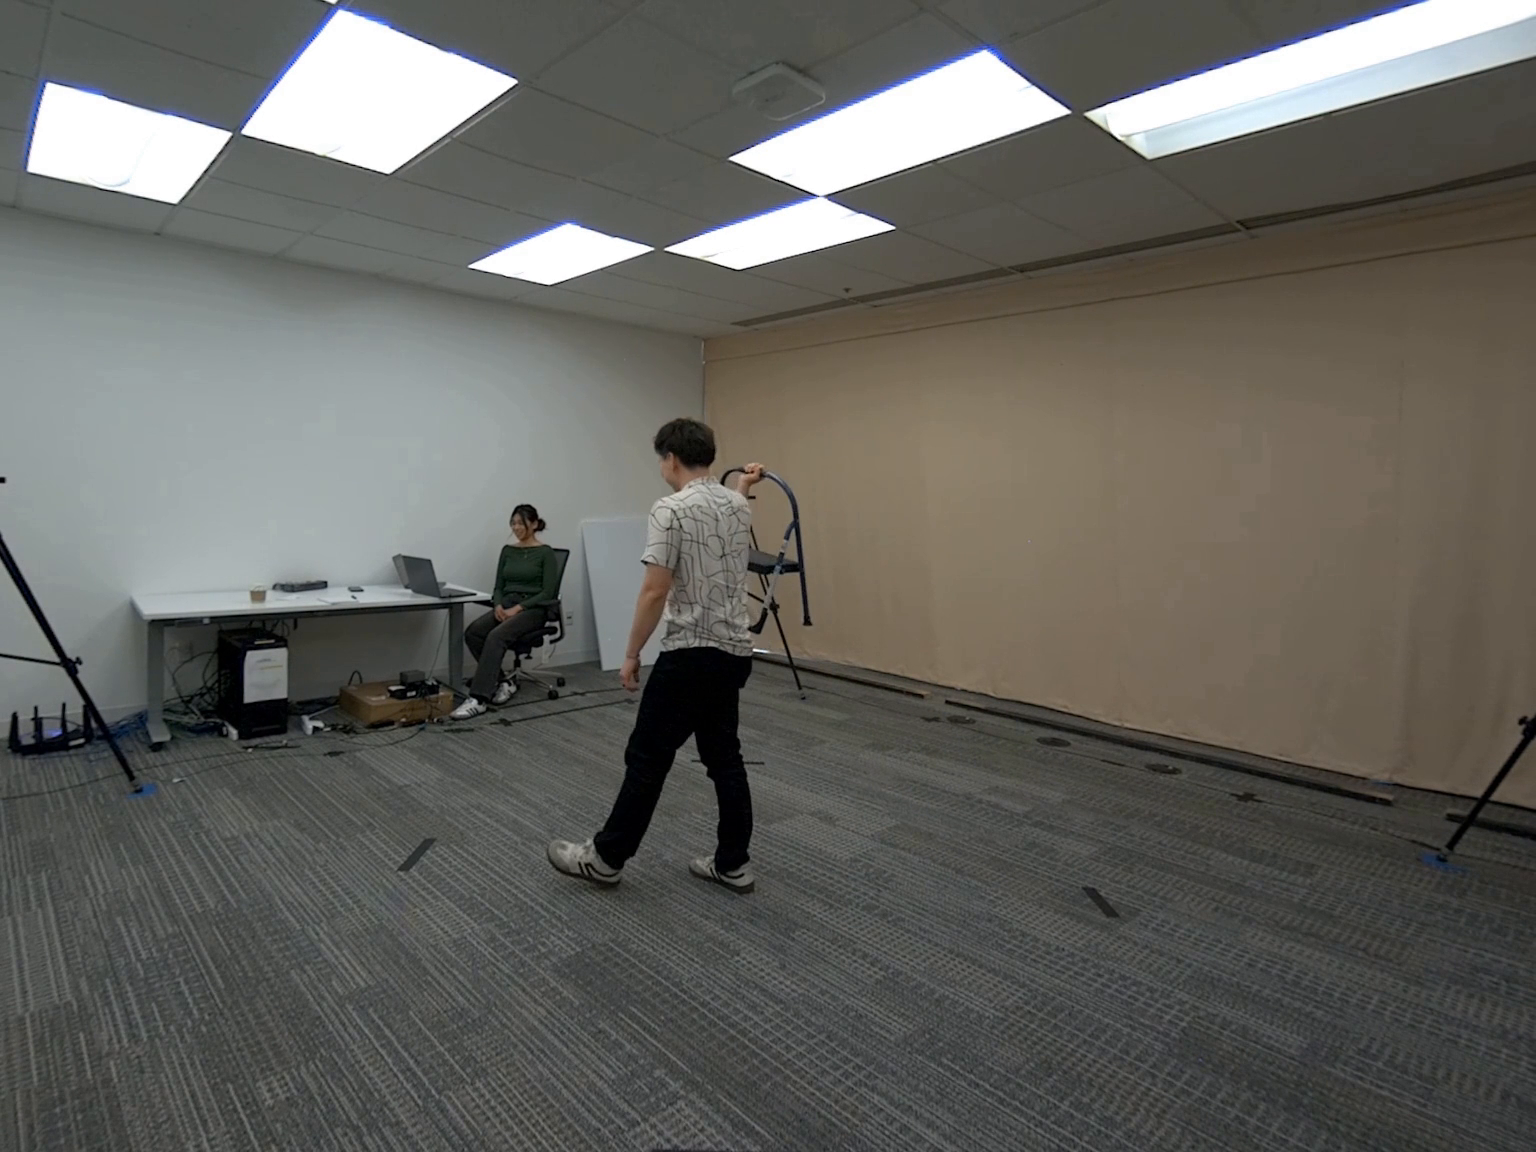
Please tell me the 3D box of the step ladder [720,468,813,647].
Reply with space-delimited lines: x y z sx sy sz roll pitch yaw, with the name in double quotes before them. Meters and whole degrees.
"step ladder" -0.050 -0.120 3.400 0.443 0.602 0.342 15 12 39
